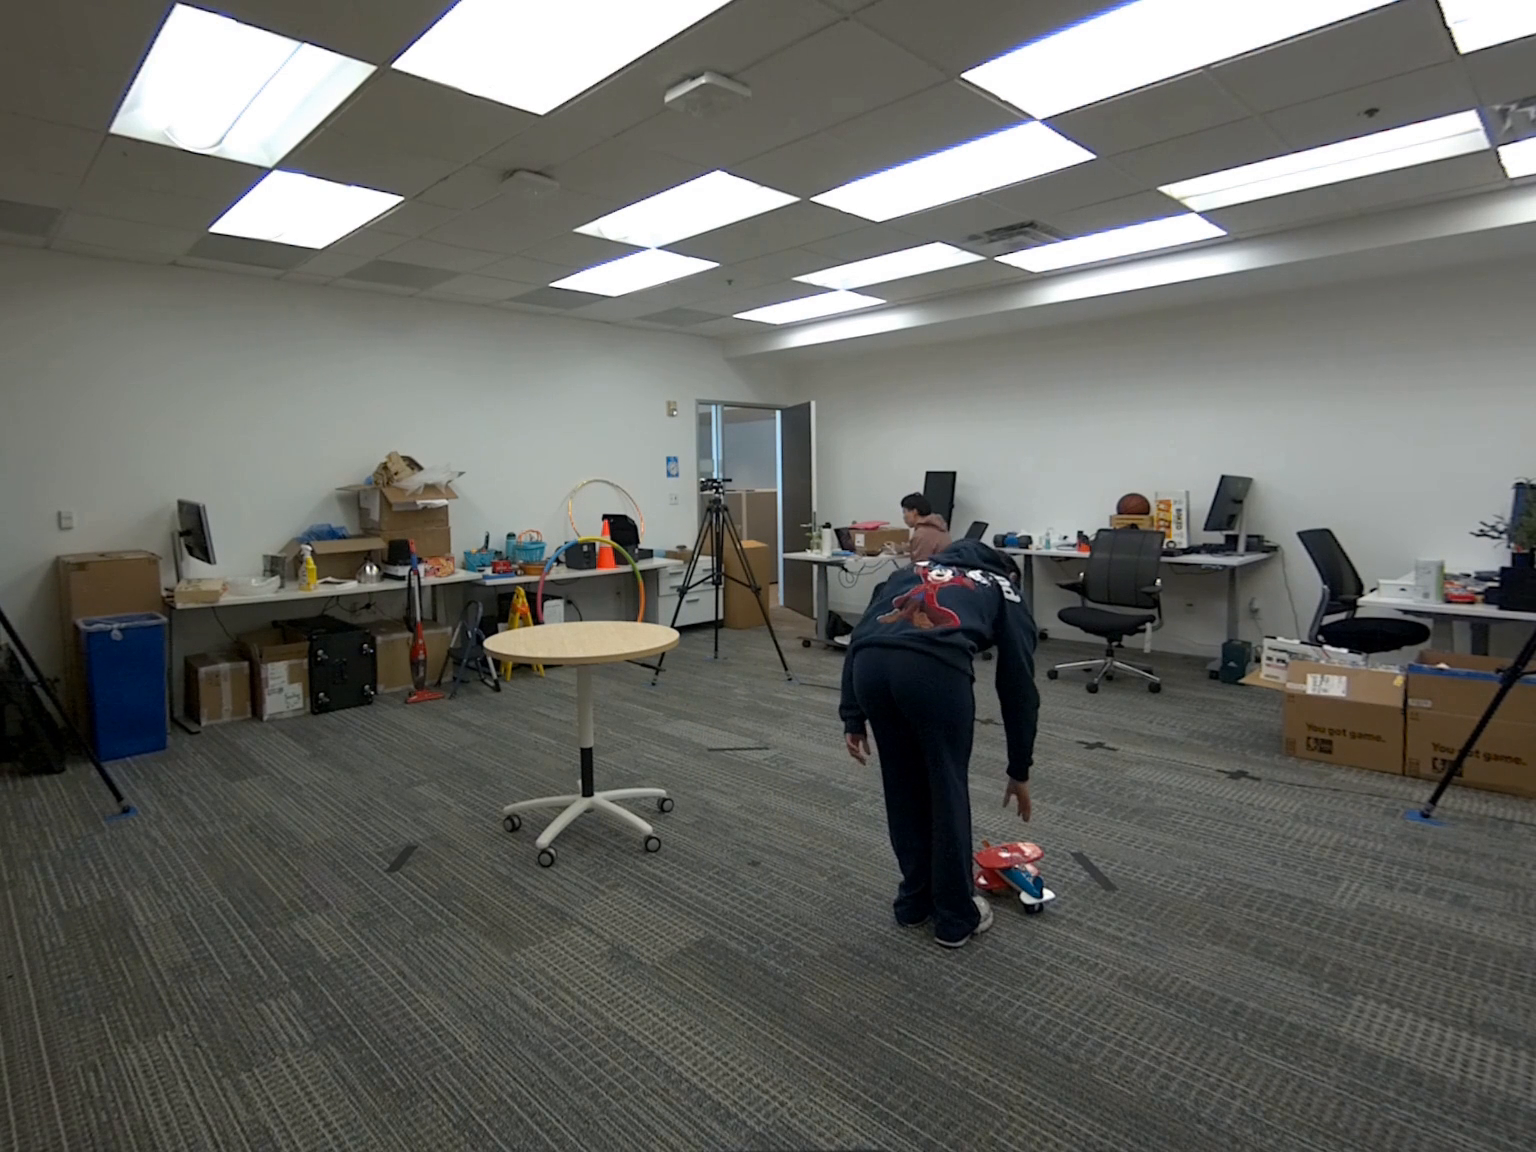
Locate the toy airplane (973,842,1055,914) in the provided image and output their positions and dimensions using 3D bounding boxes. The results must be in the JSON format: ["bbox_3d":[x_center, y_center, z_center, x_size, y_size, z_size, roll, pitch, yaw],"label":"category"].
[{"bbox_3d":[0.833,0.991,2.801,0.267,0.156,0.244,2,6,41],"label":"toy airplane"}]
